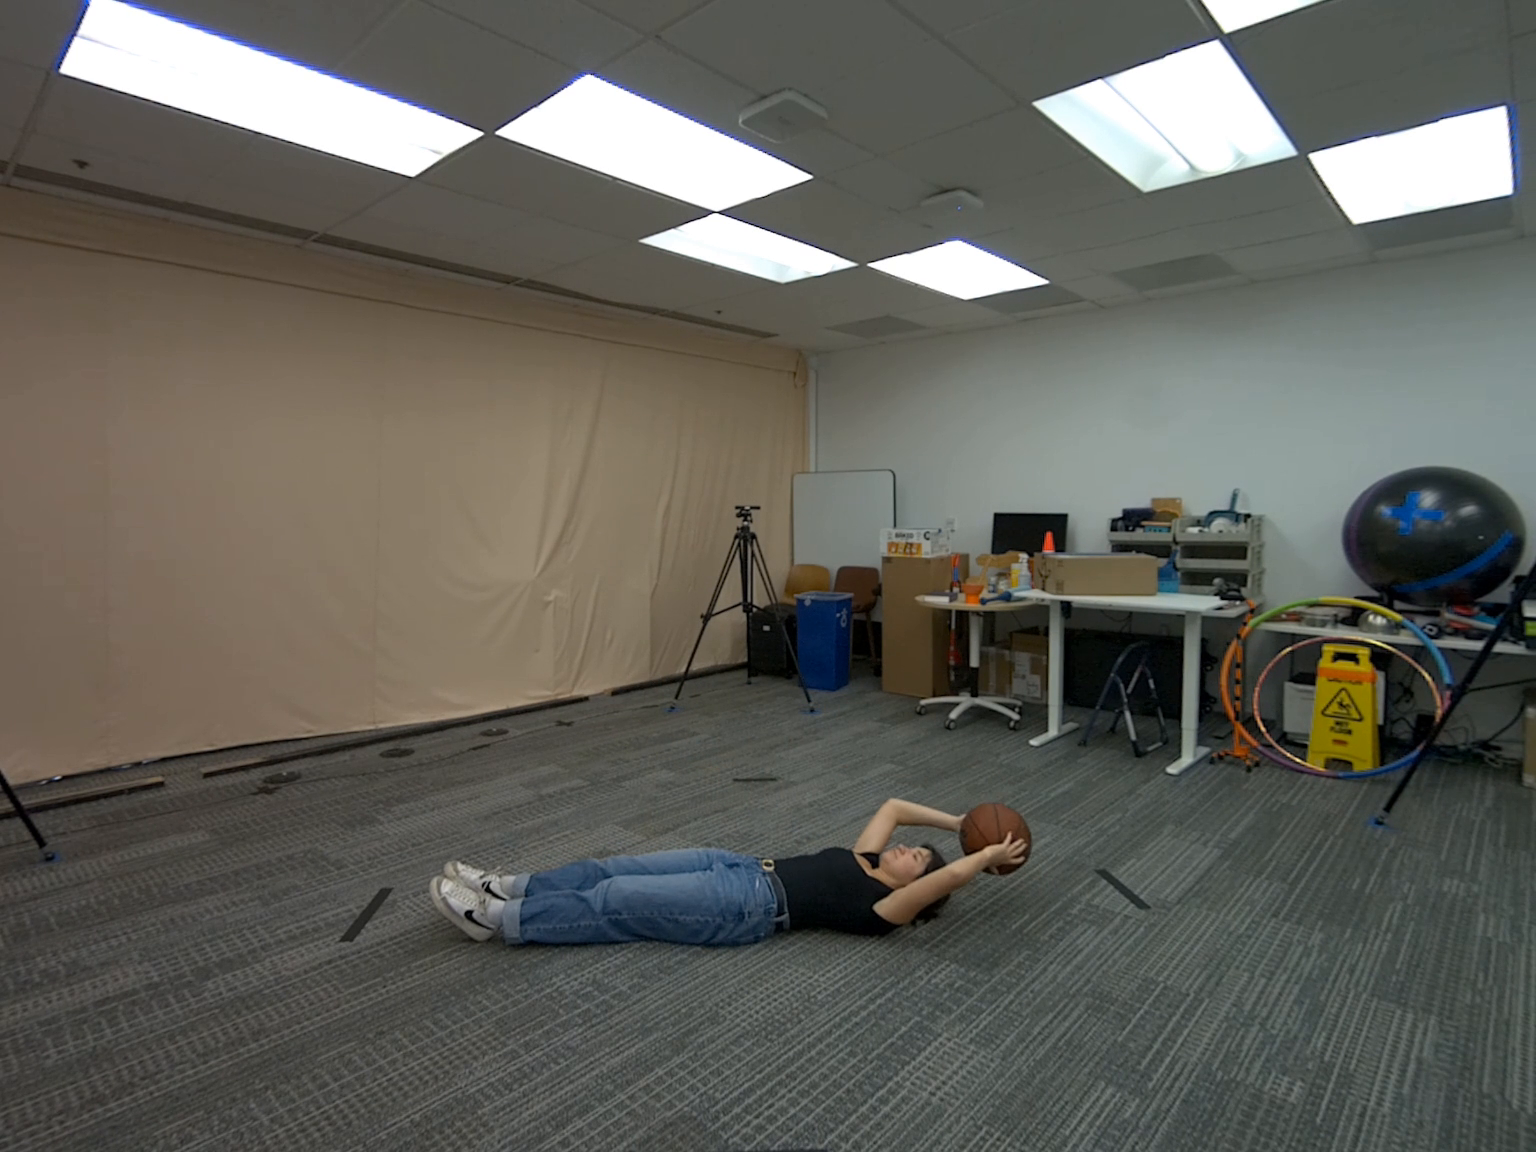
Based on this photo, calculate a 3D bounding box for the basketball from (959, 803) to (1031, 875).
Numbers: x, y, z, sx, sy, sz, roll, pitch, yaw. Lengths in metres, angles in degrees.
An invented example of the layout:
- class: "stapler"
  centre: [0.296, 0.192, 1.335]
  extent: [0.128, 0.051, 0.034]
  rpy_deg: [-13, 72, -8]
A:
- class: "basketball"
  centre: [0.788, 0.901, 2.909]
  extent: [0.236, 0.235, 0.237]
  rpy_deg: [0, 4, -2]
